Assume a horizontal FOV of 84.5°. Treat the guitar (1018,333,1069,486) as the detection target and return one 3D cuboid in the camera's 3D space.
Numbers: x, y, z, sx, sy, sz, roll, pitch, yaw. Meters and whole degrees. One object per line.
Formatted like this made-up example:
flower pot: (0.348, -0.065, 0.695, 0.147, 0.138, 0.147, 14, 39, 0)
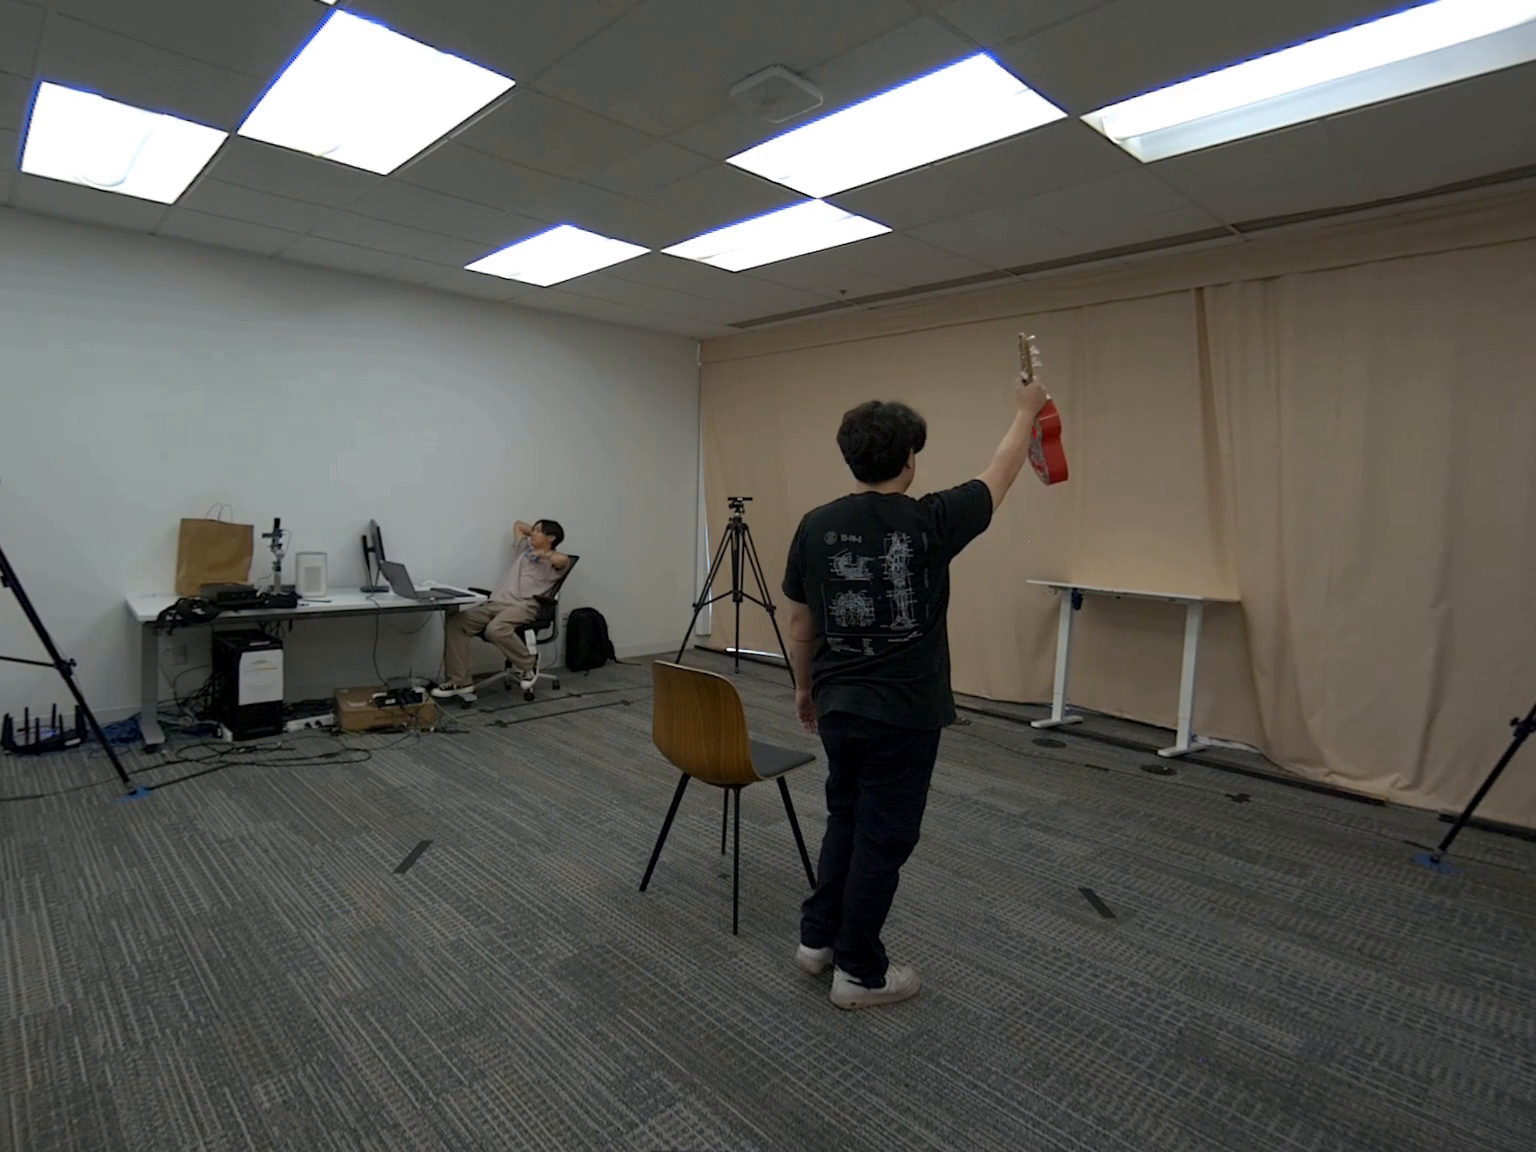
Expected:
guitar: (0.805, -0.483, 2.500, 0.071, 0.483, 0.198, -16, 42, 6)
